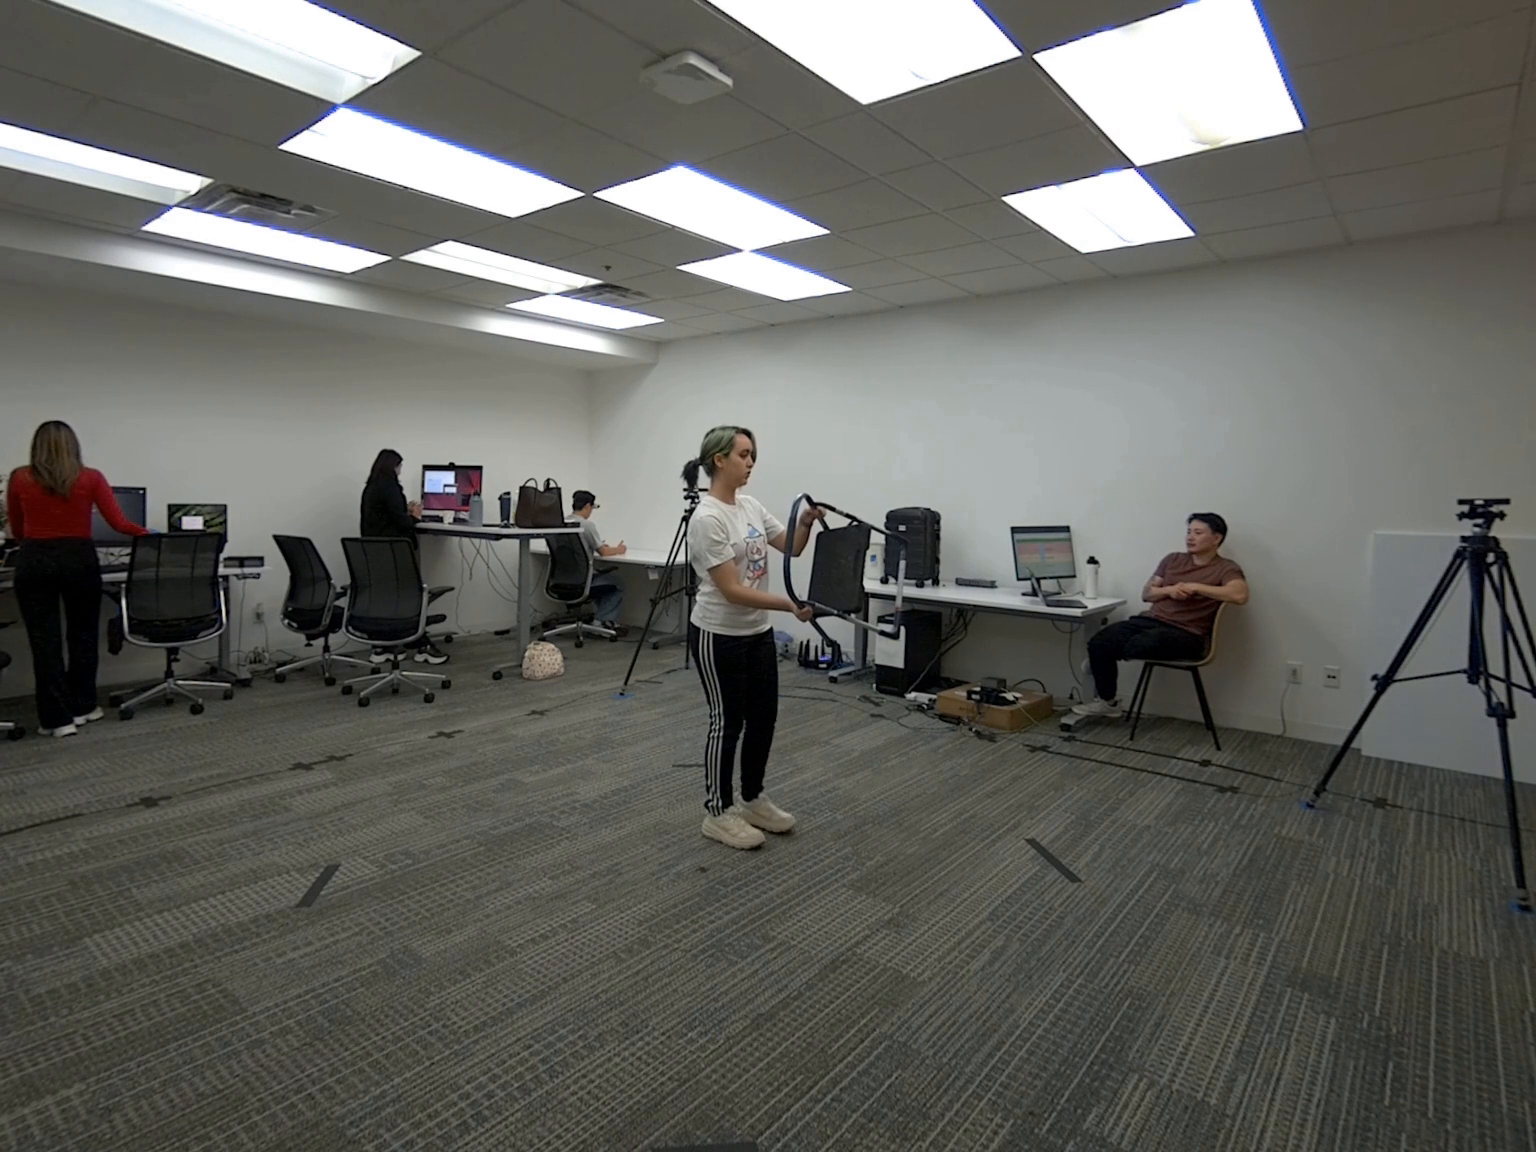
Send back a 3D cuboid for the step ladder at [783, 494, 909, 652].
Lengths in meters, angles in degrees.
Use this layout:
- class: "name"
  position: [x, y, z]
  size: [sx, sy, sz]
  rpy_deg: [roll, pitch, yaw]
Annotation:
- class: "step ladder"
  position: [0.202, -0.043, 3.206]
  size: [0.358, 0.437, 0.581]
  rpy_deg: [-10, -29, 41]
